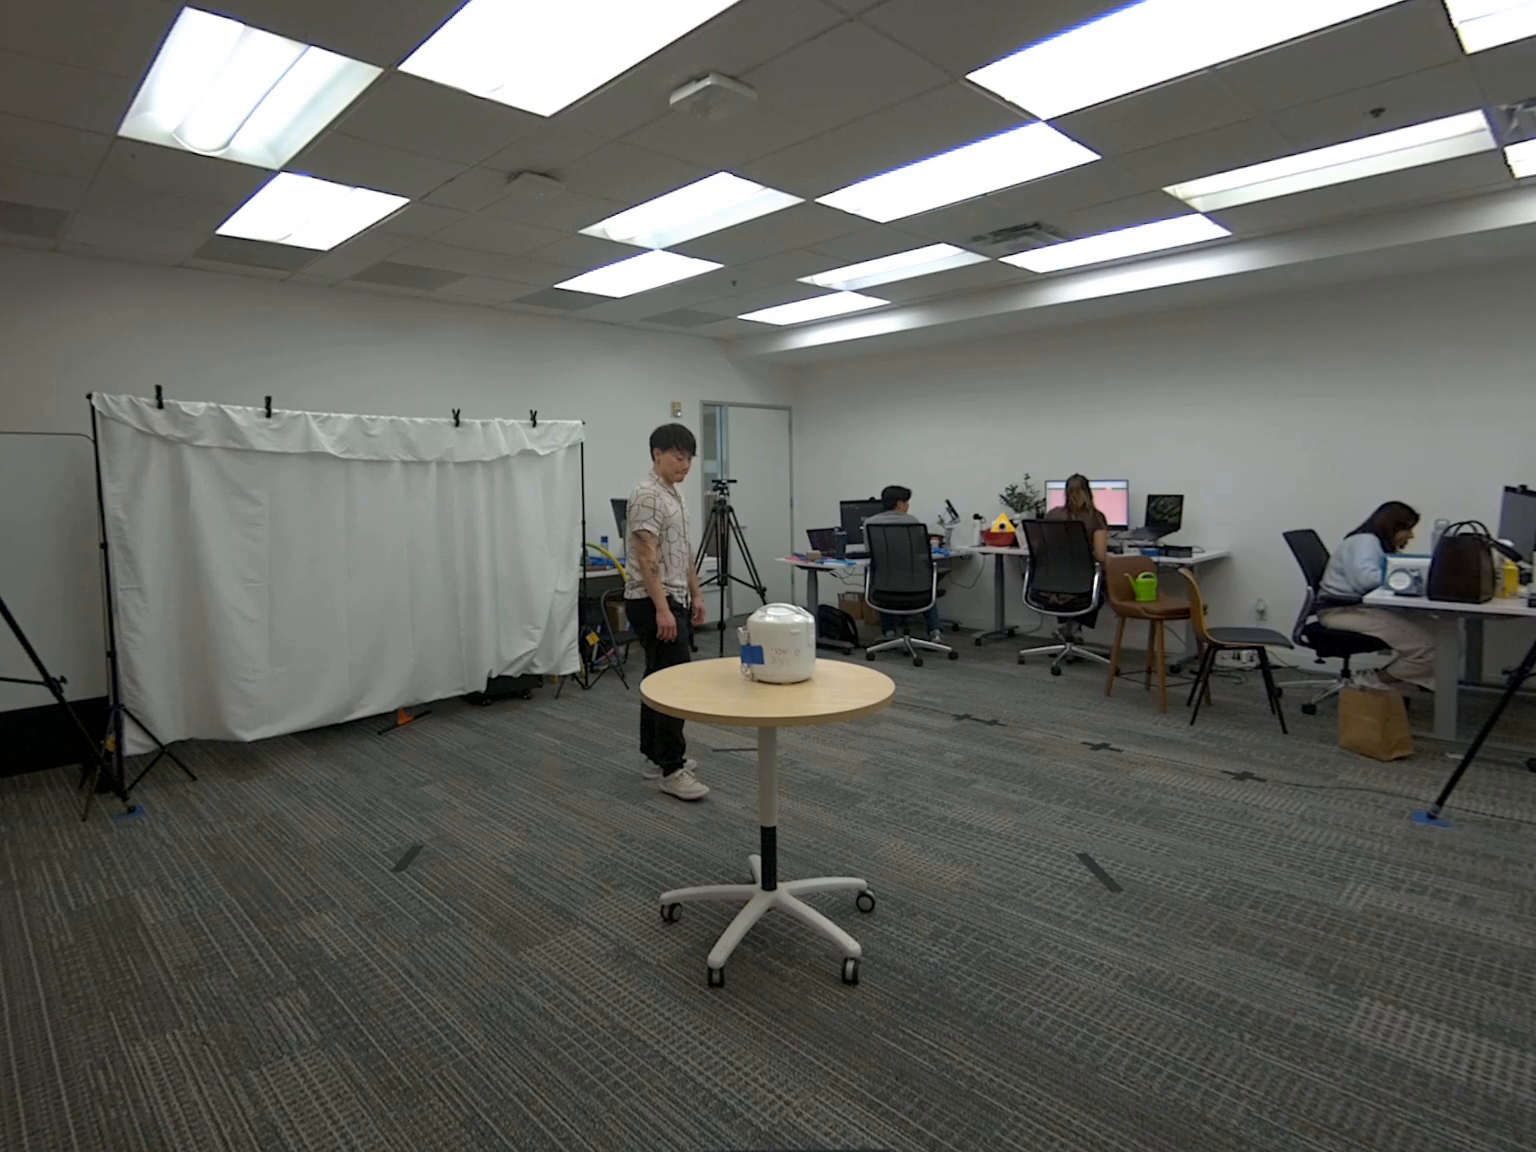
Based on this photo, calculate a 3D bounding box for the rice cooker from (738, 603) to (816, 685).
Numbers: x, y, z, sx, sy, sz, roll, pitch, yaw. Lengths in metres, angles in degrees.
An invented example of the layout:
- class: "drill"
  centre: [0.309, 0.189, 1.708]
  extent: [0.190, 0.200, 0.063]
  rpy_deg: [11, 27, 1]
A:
- class: "rice cooker"
  centre: [0.044, 0.202, 2.639]
  extent: [0.226, 0.232, 0.213]
  rpy_deg: [3, 7, 31]
